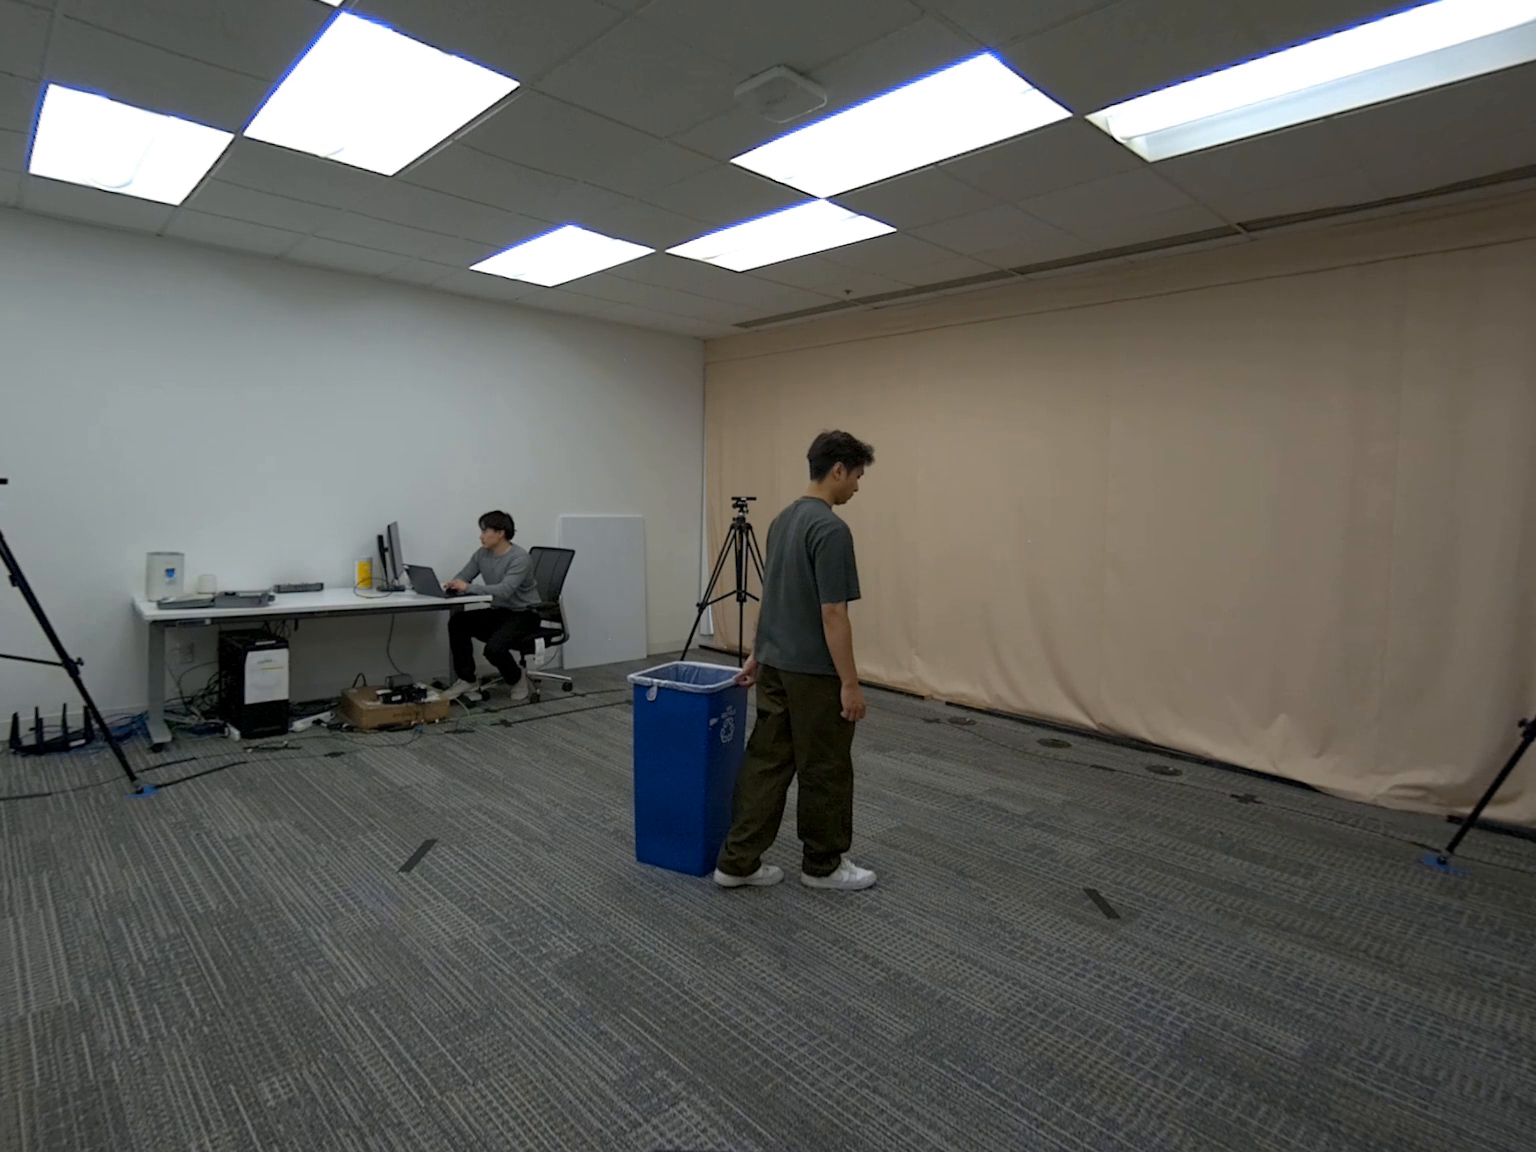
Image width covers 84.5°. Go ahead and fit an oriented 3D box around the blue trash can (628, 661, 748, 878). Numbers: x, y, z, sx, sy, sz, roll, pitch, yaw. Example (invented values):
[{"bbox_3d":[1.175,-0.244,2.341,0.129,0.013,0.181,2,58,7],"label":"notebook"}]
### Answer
[{"bbox_3d":[-0.307,0.730,3.272,0.386,0.711,0.367,3,4,26],"label":"blue trash can"}]
